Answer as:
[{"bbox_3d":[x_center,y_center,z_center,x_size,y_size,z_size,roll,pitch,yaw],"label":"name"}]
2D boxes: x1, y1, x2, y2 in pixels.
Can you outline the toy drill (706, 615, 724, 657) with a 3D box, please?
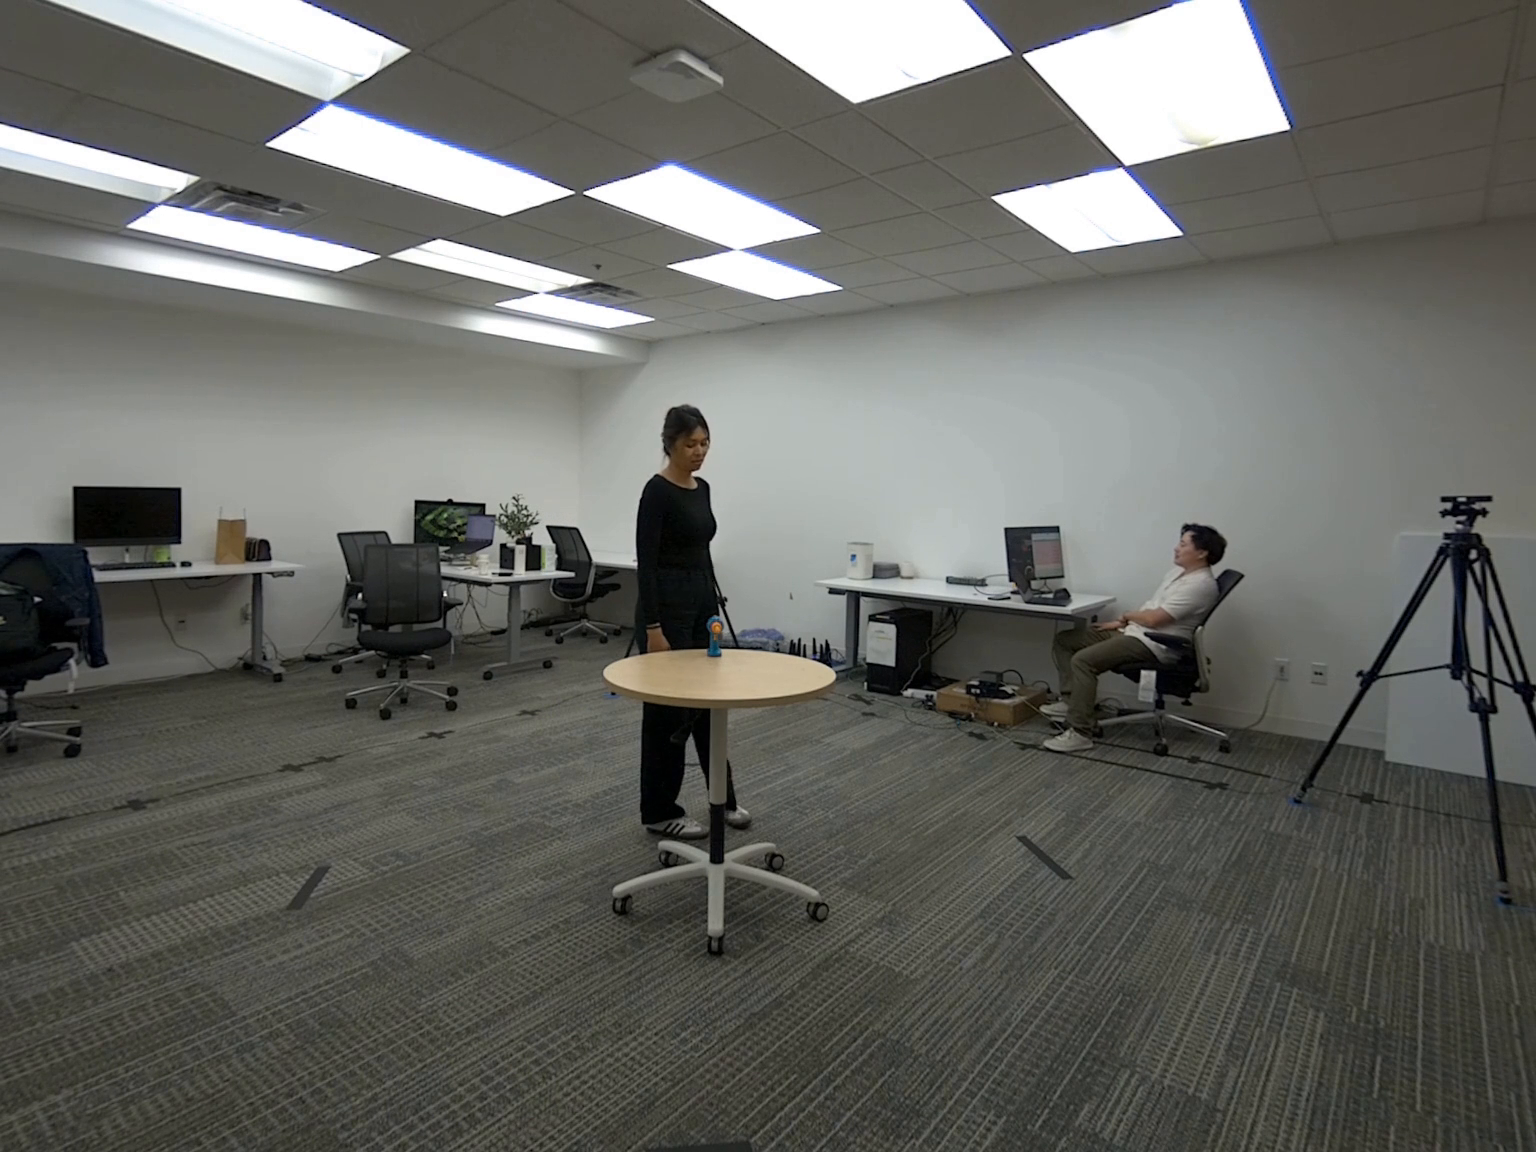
[{"bbox_3d":[-0.193,0.215,3.041,0.060,0.145,0.172,1,4,-12],"label":"toy drill"}]
